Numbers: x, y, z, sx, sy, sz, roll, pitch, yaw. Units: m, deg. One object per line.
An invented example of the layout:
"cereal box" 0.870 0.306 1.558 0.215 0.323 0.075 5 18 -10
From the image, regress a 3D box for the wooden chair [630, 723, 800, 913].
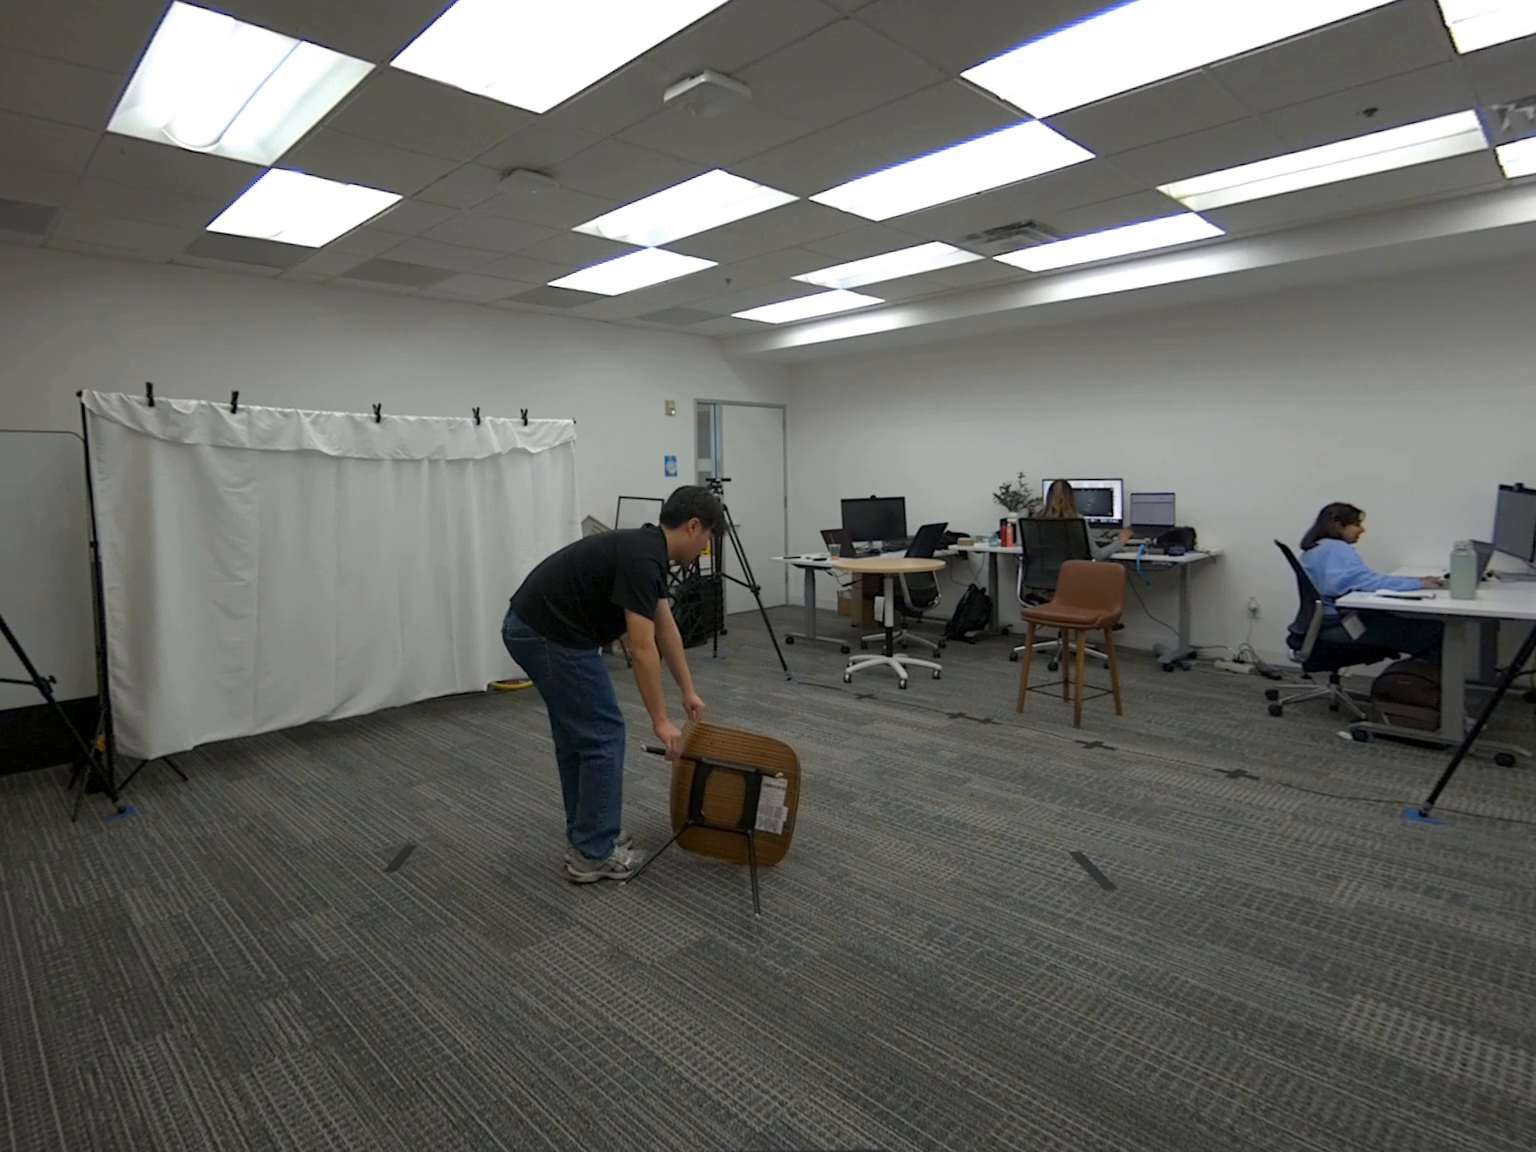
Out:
"wooden chair" -0.154 0.794 3.082 0.526 0.478 0.871 9 0 4
